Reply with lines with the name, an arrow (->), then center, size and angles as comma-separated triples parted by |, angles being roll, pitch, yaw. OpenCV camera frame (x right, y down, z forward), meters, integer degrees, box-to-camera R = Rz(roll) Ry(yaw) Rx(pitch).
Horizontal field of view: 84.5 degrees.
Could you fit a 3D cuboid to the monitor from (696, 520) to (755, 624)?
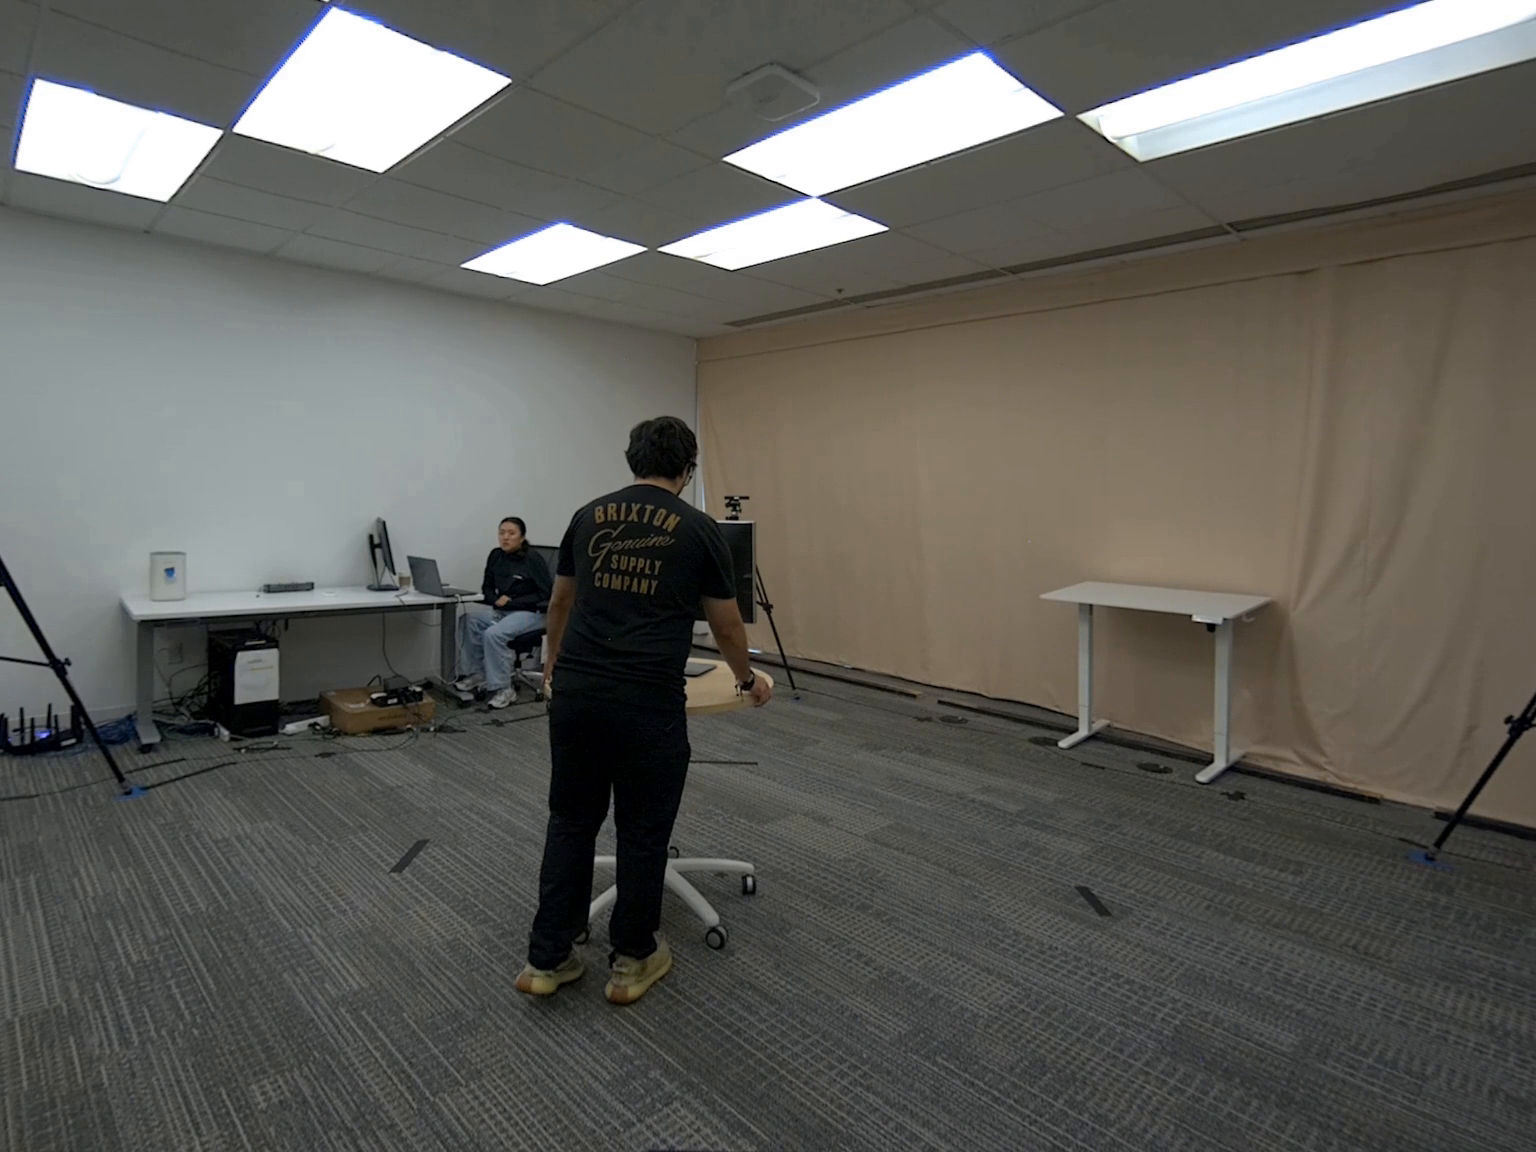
monitor -> -0.332, 0.079, 2.971 | 0.575, 0.551, 0.207 | 3, 6, 21
